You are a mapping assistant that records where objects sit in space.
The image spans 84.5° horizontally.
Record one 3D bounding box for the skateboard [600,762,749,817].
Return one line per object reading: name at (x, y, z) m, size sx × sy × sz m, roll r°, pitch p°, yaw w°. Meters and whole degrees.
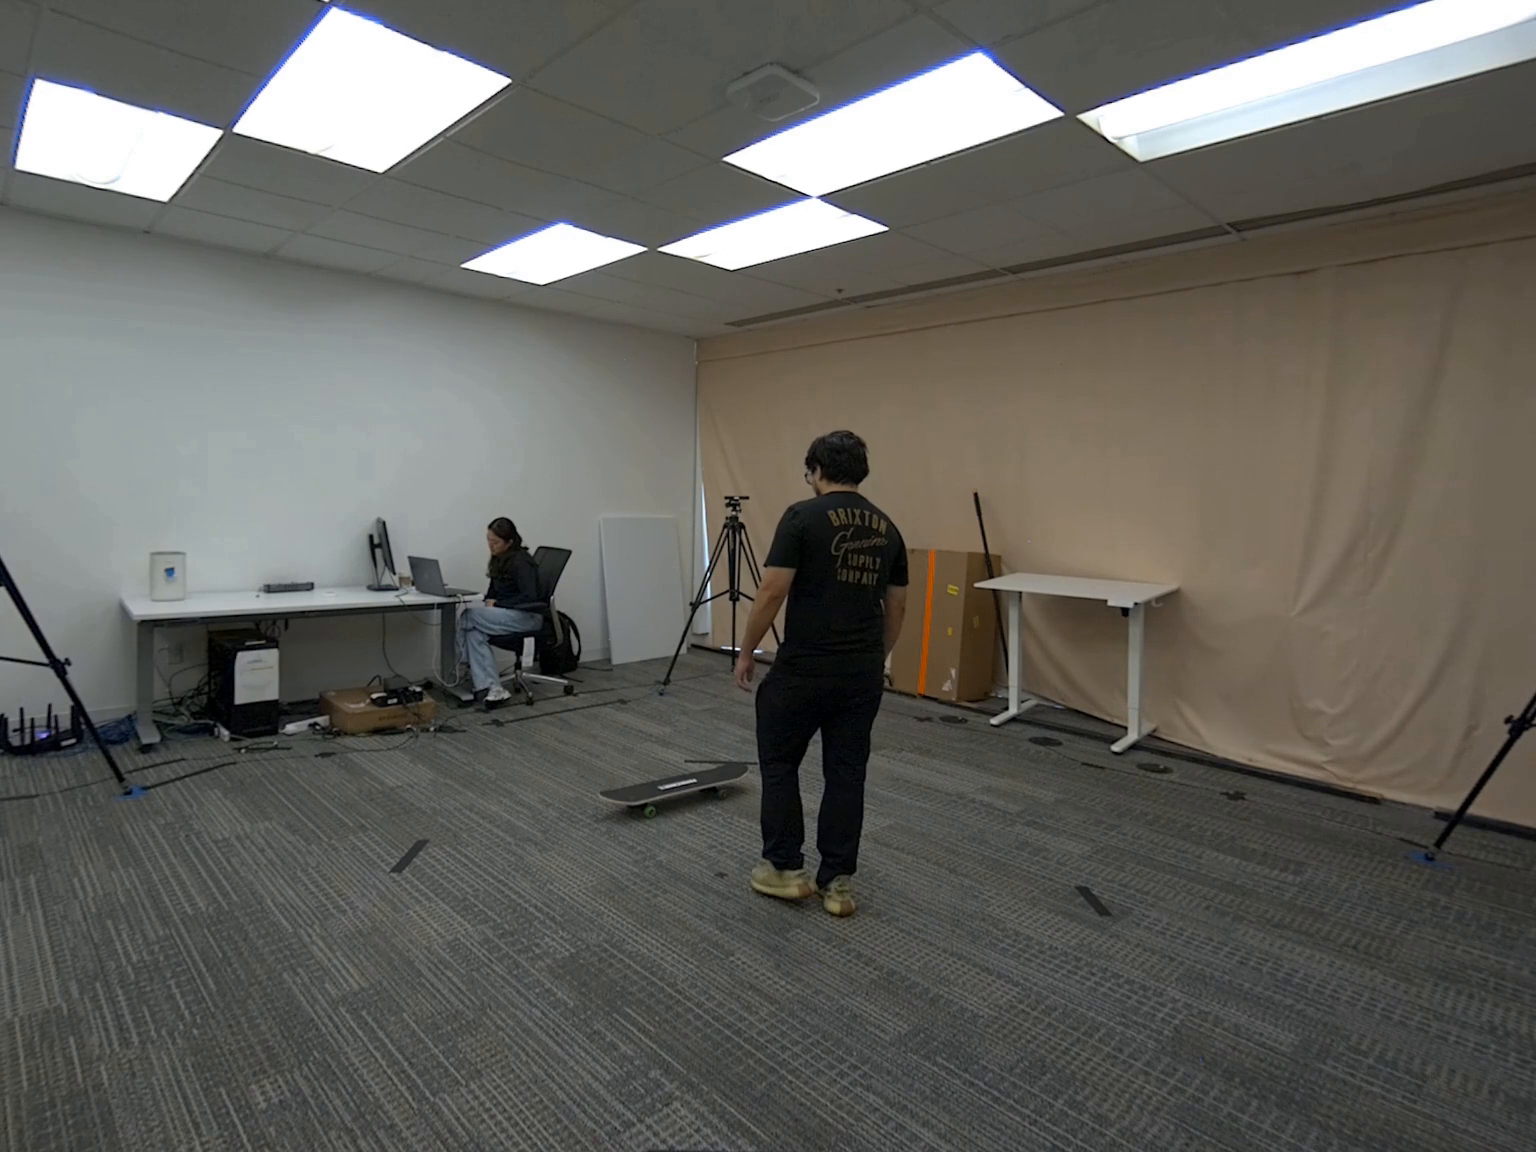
skateboard at (-0.421, 0.978, 3.827) m, size 0.768 × 0.110 × 0.198 m, roll -3°, pitch 6°, yaw -40°
